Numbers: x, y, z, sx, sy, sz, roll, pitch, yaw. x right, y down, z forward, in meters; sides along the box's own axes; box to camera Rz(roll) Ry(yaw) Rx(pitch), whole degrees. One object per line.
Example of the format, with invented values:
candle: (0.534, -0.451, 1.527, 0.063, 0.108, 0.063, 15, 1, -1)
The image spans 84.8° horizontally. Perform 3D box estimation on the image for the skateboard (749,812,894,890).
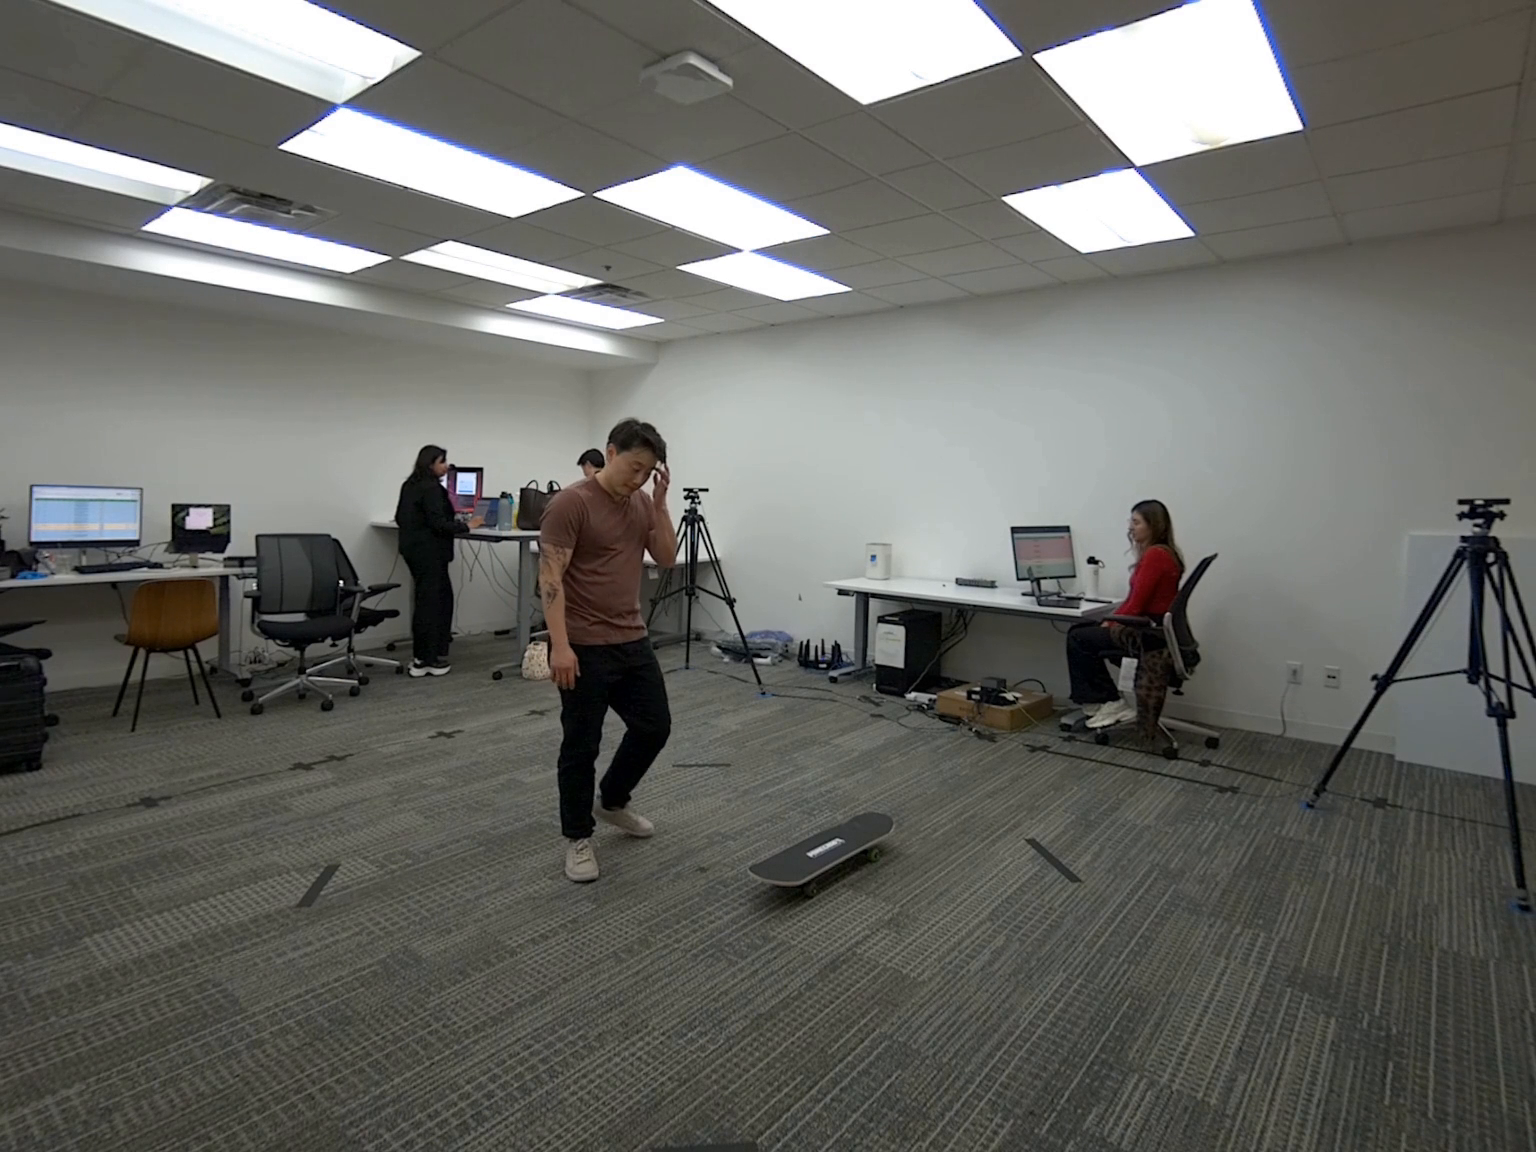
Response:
skateboard: (0.207, 1.025, 3.114, 0.200, 0.110, 0.762, 4, 6, 40)
